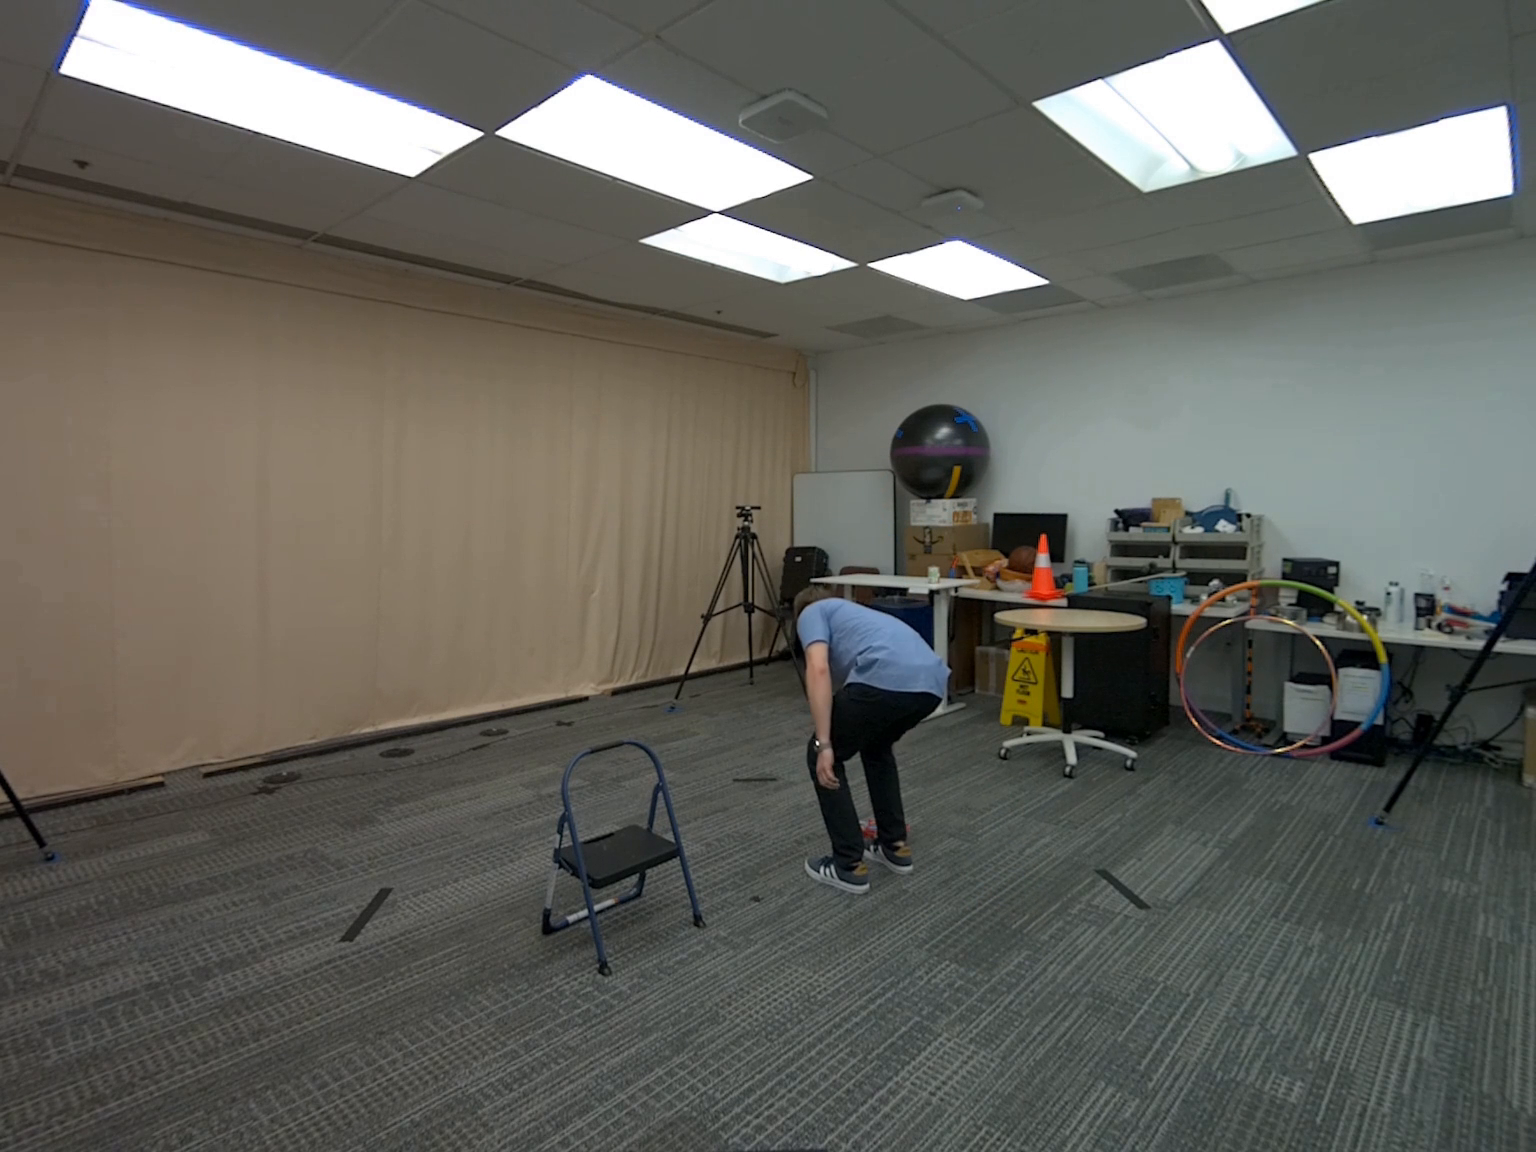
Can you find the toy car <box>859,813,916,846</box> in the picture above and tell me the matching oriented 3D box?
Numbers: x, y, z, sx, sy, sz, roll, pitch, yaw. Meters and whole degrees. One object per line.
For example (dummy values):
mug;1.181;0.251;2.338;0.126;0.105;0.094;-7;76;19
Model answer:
toy car;0.476;1.067;3.531;0.257;0.083;0.129;-11;1;11
